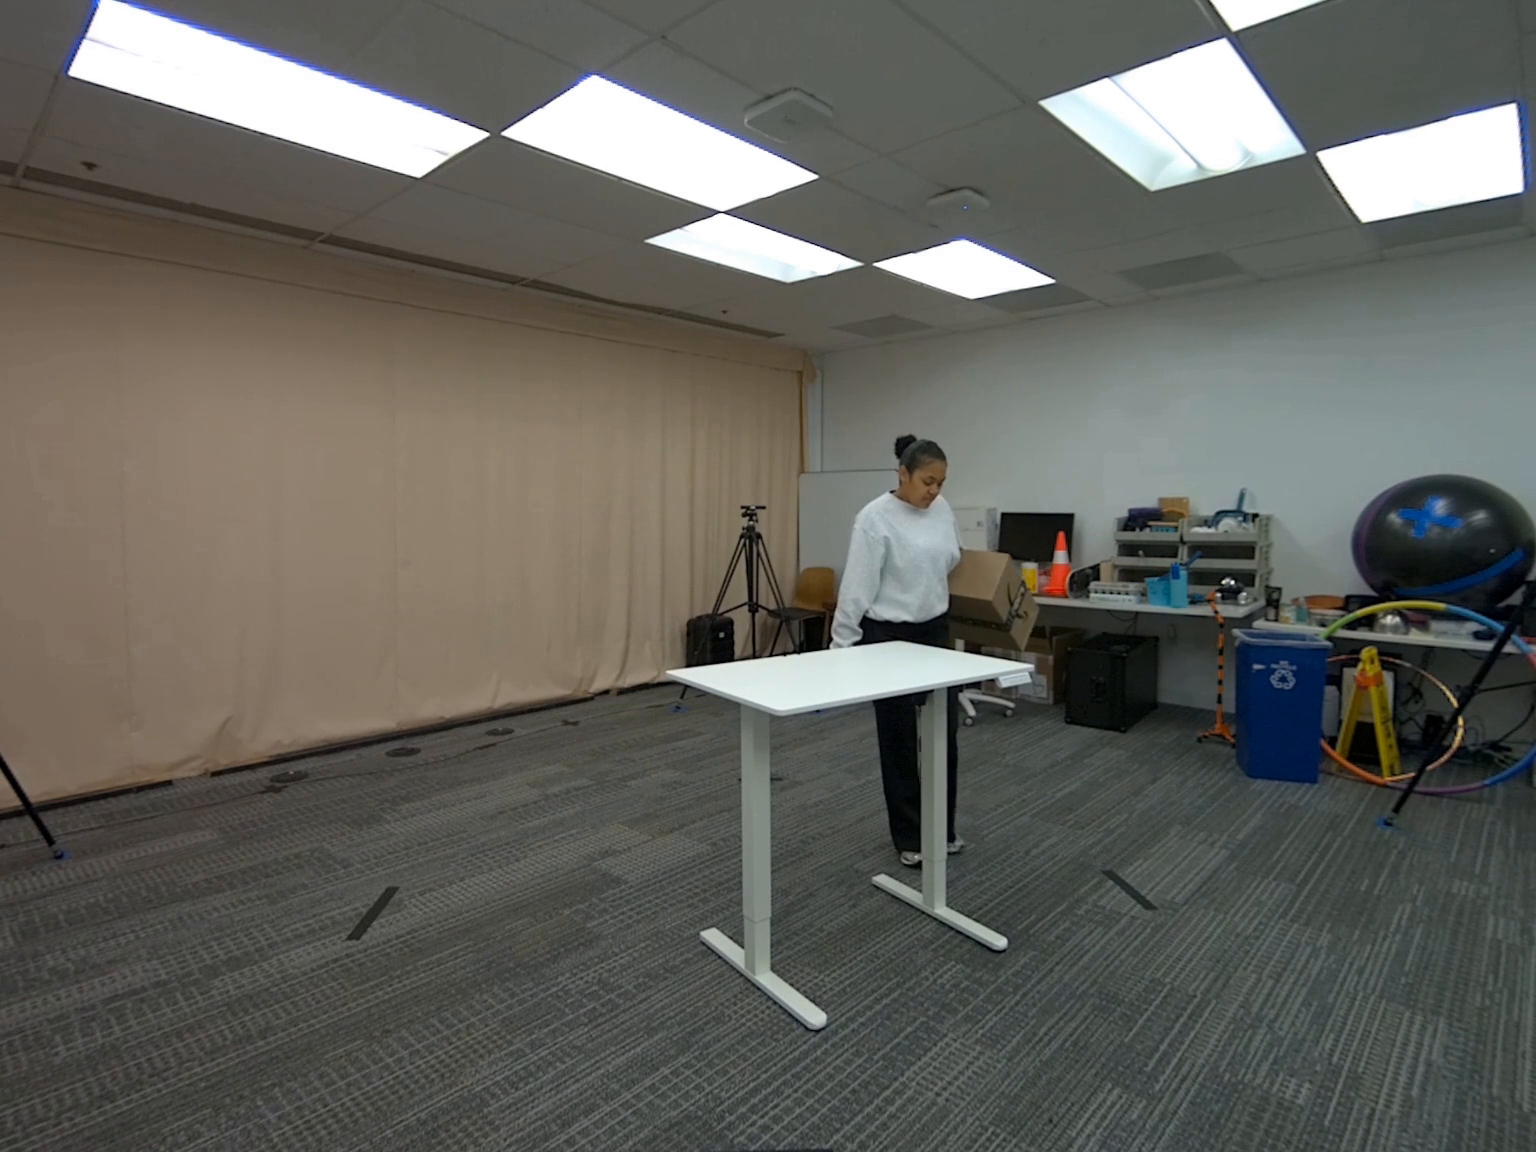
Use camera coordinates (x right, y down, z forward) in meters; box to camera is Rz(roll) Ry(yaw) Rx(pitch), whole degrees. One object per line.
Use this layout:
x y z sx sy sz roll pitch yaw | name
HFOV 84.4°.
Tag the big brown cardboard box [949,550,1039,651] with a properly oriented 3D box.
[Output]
0.785 0.080 3.569 0.609 0.233 0.403 10 -27 41 | big brown cardboard box
